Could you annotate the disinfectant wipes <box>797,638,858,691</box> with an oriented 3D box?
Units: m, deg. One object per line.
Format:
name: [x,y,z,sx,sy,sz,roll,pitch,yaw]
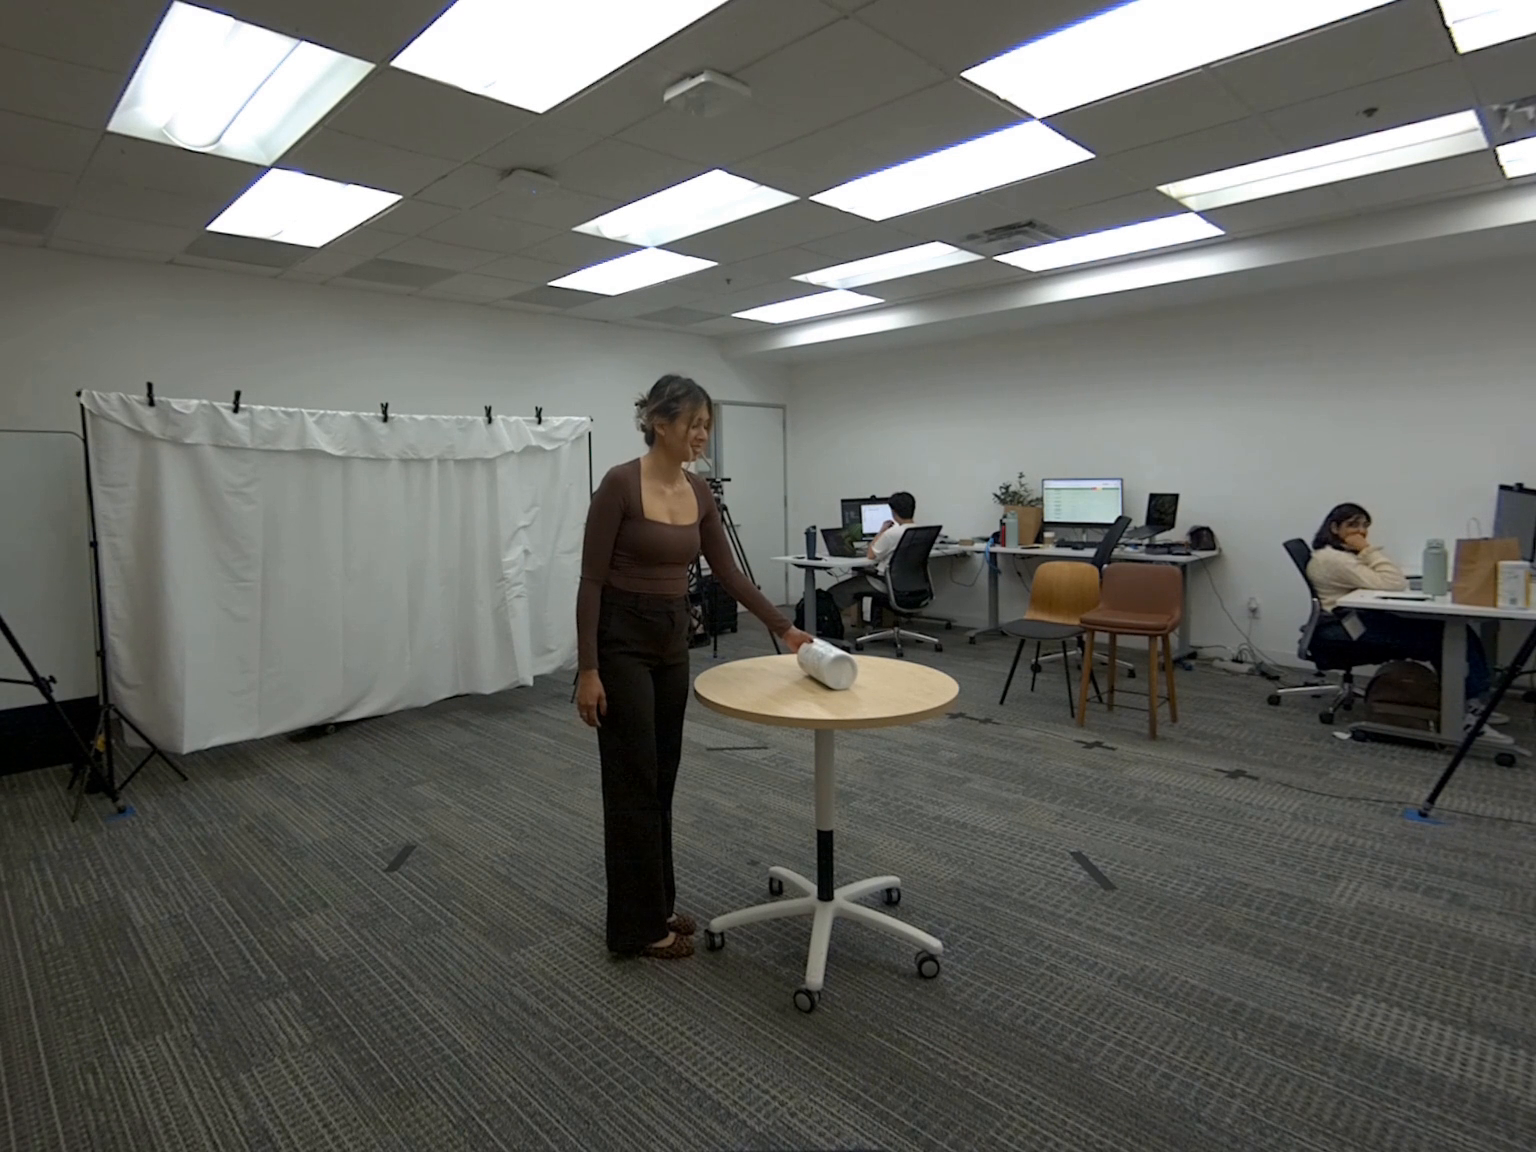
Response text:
disinfectant wipes: [0.170,0.256,2.500,0.116,0.117,0.222,-2,6,-18]
